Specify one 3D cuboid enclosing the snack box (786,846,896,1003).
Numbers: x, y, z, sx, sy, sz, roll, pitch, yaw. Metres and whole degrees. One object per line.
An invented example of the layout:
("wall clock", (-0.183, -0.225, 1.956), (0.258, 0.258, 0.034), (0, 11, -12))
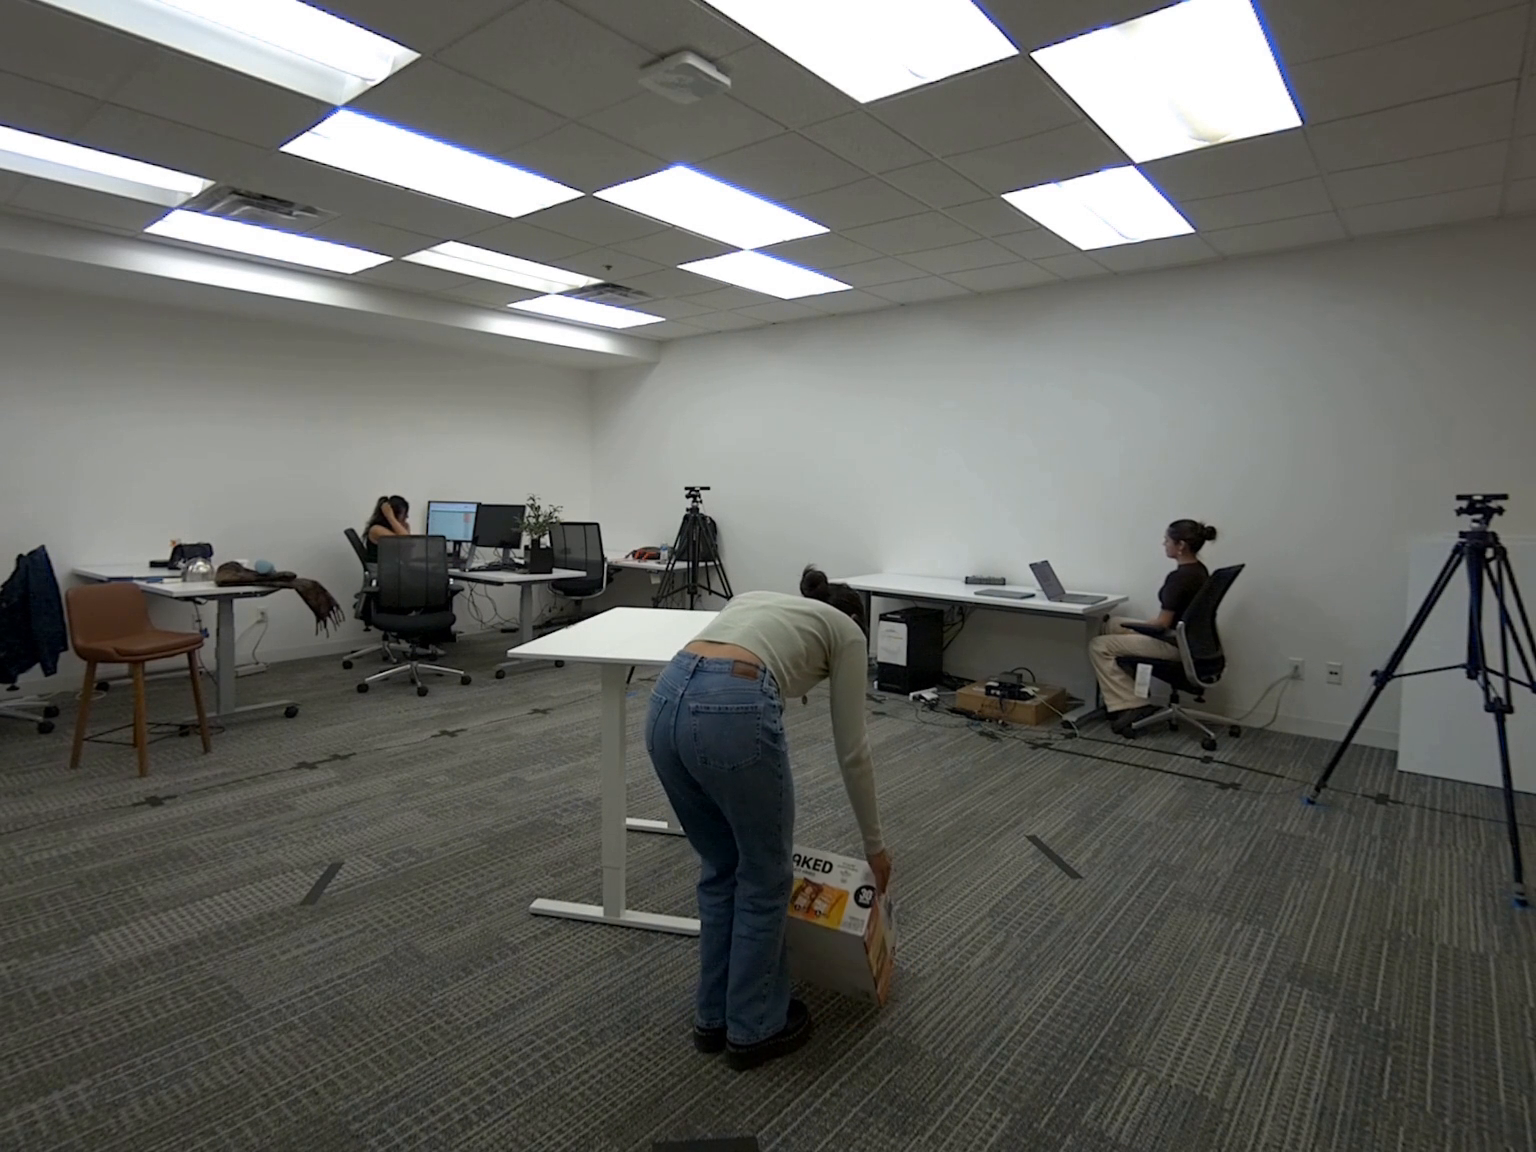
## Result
("snack box", (0.115, 0.929, 2.336), (0.416, 0.329, 0.207), (4, 39, 26))
